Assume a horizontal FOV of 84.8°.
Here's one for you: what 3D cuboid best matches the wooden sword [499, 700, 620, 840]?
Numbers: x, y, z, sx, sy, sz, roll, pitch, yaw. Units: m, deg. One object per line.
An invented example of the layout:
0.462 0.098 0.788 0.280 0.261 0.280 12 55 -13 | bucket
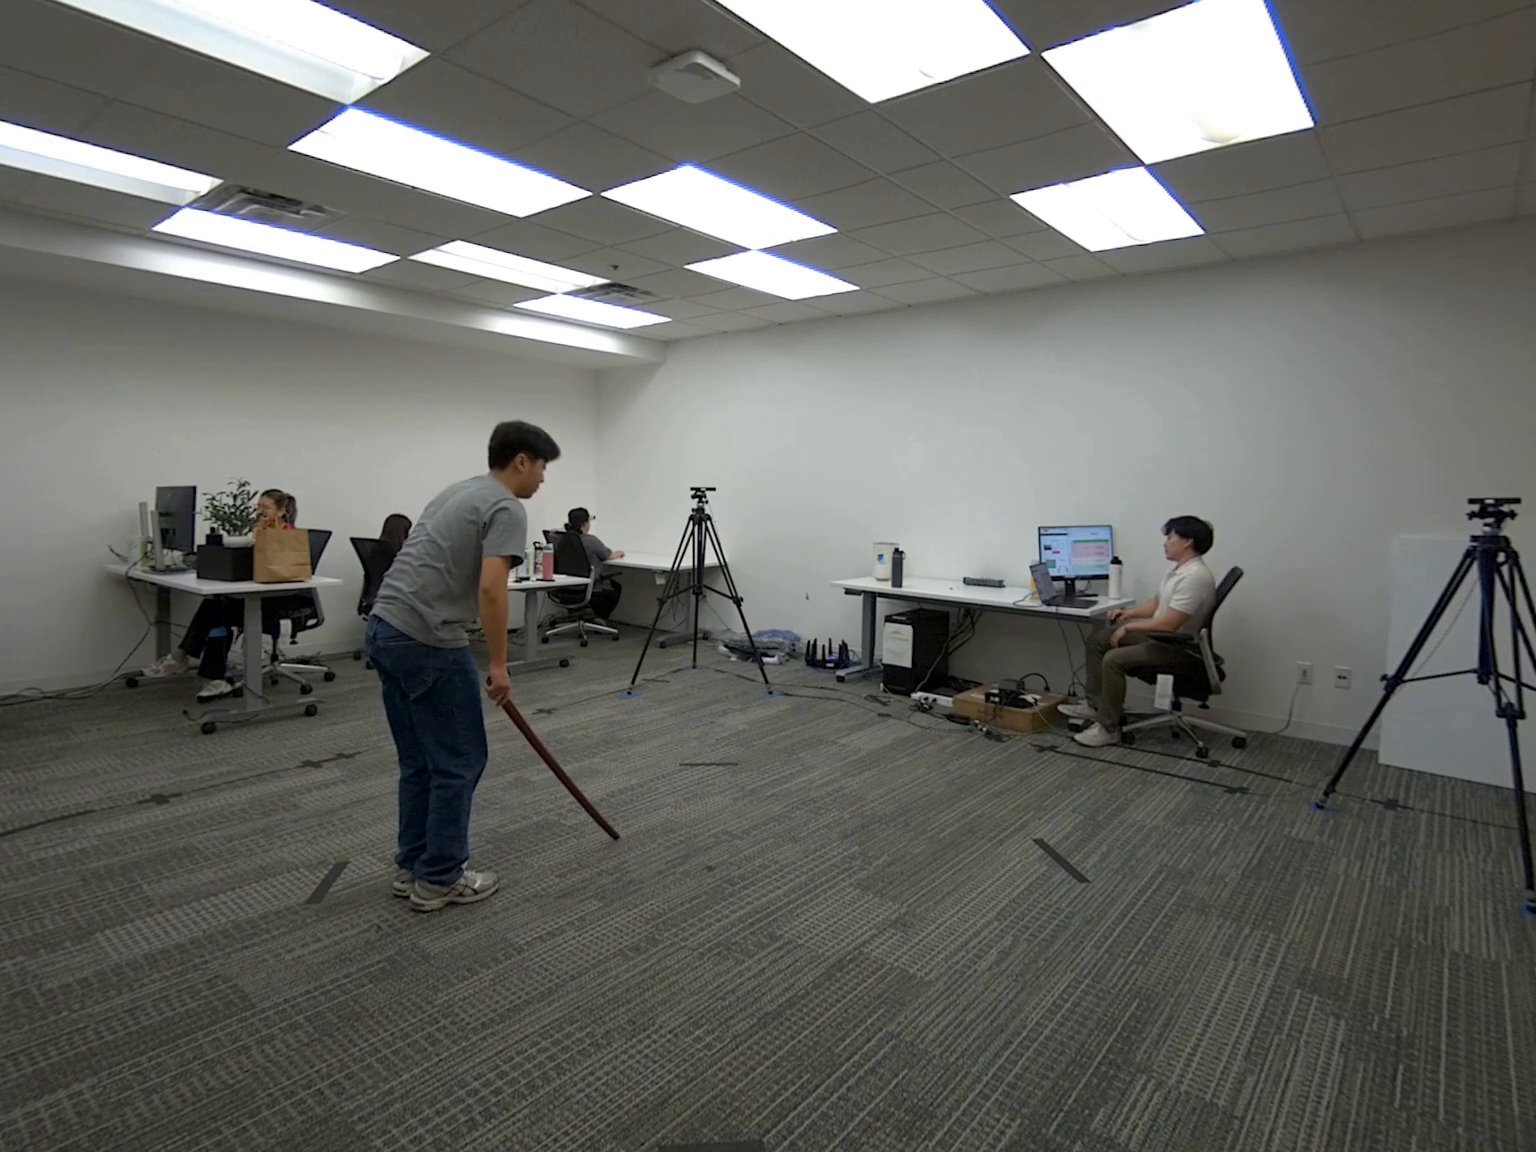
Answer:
-0.767 0.720 3.077 0.024 0.984 0.053 -28 40 1 | wooden sword
